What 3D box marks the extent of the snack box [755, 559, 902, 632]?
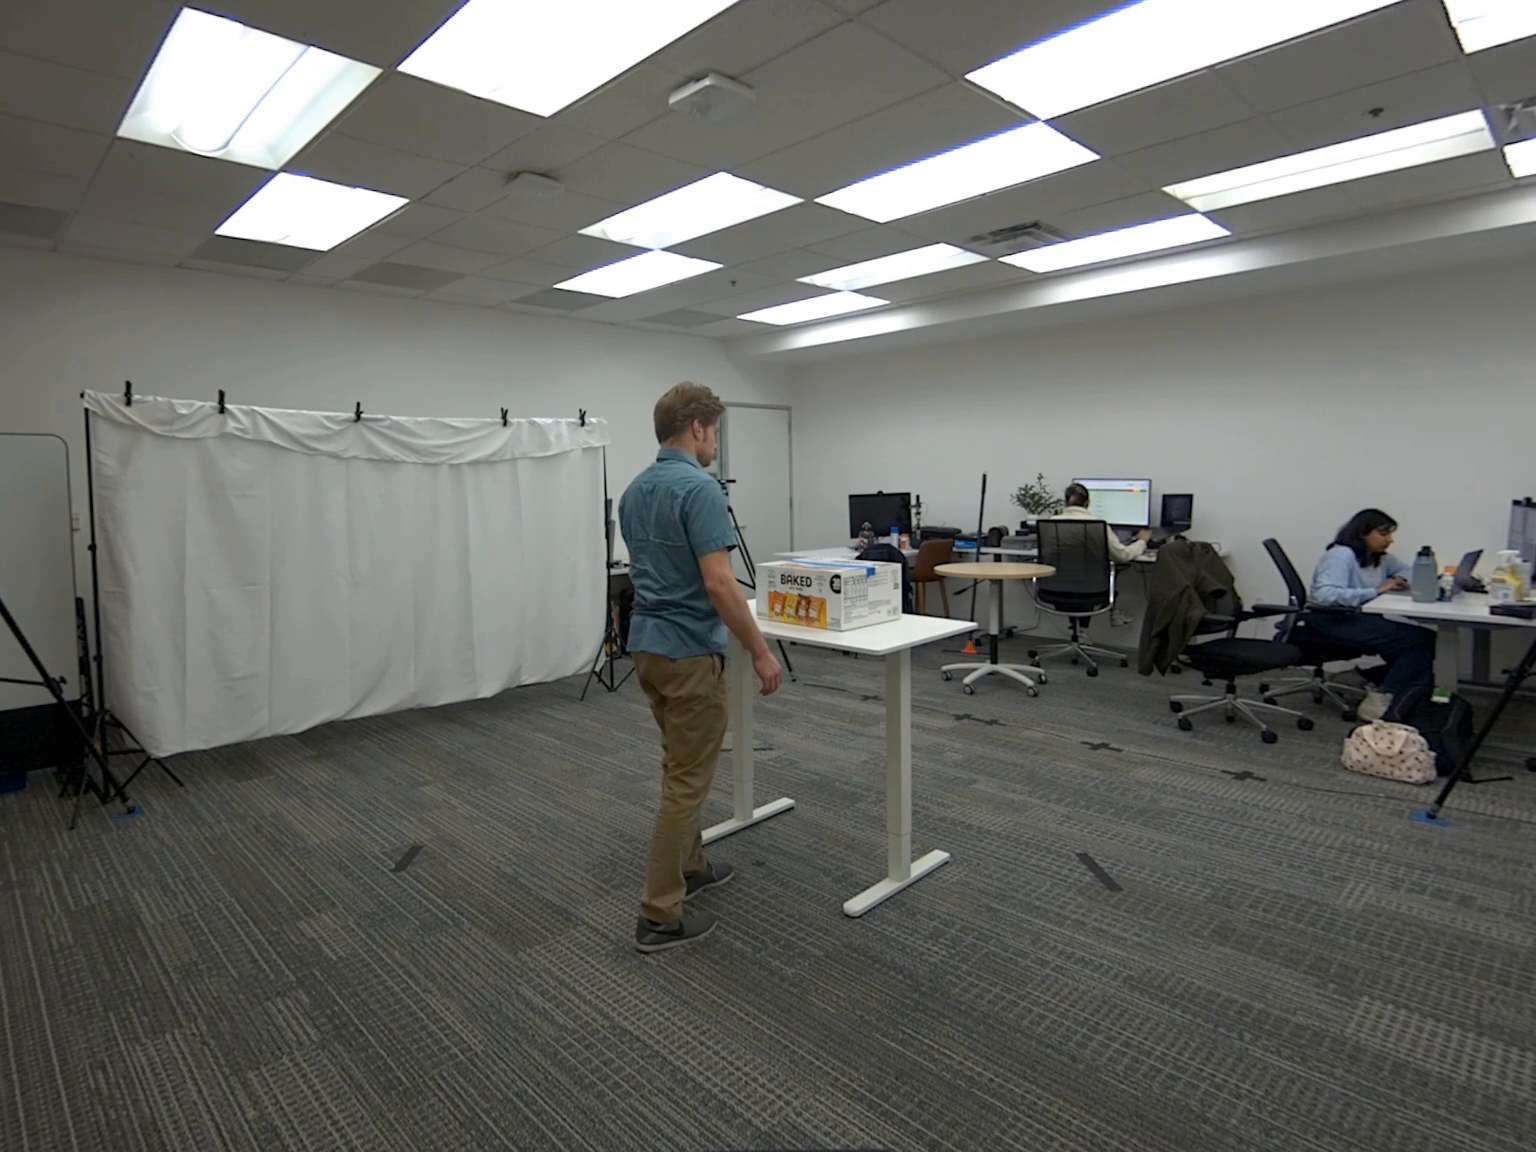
[{"bbox_3d":[0.220,0.056,3.115,0.332,0.204,0.418,-8,9,-44],"label":"snack box"}]
